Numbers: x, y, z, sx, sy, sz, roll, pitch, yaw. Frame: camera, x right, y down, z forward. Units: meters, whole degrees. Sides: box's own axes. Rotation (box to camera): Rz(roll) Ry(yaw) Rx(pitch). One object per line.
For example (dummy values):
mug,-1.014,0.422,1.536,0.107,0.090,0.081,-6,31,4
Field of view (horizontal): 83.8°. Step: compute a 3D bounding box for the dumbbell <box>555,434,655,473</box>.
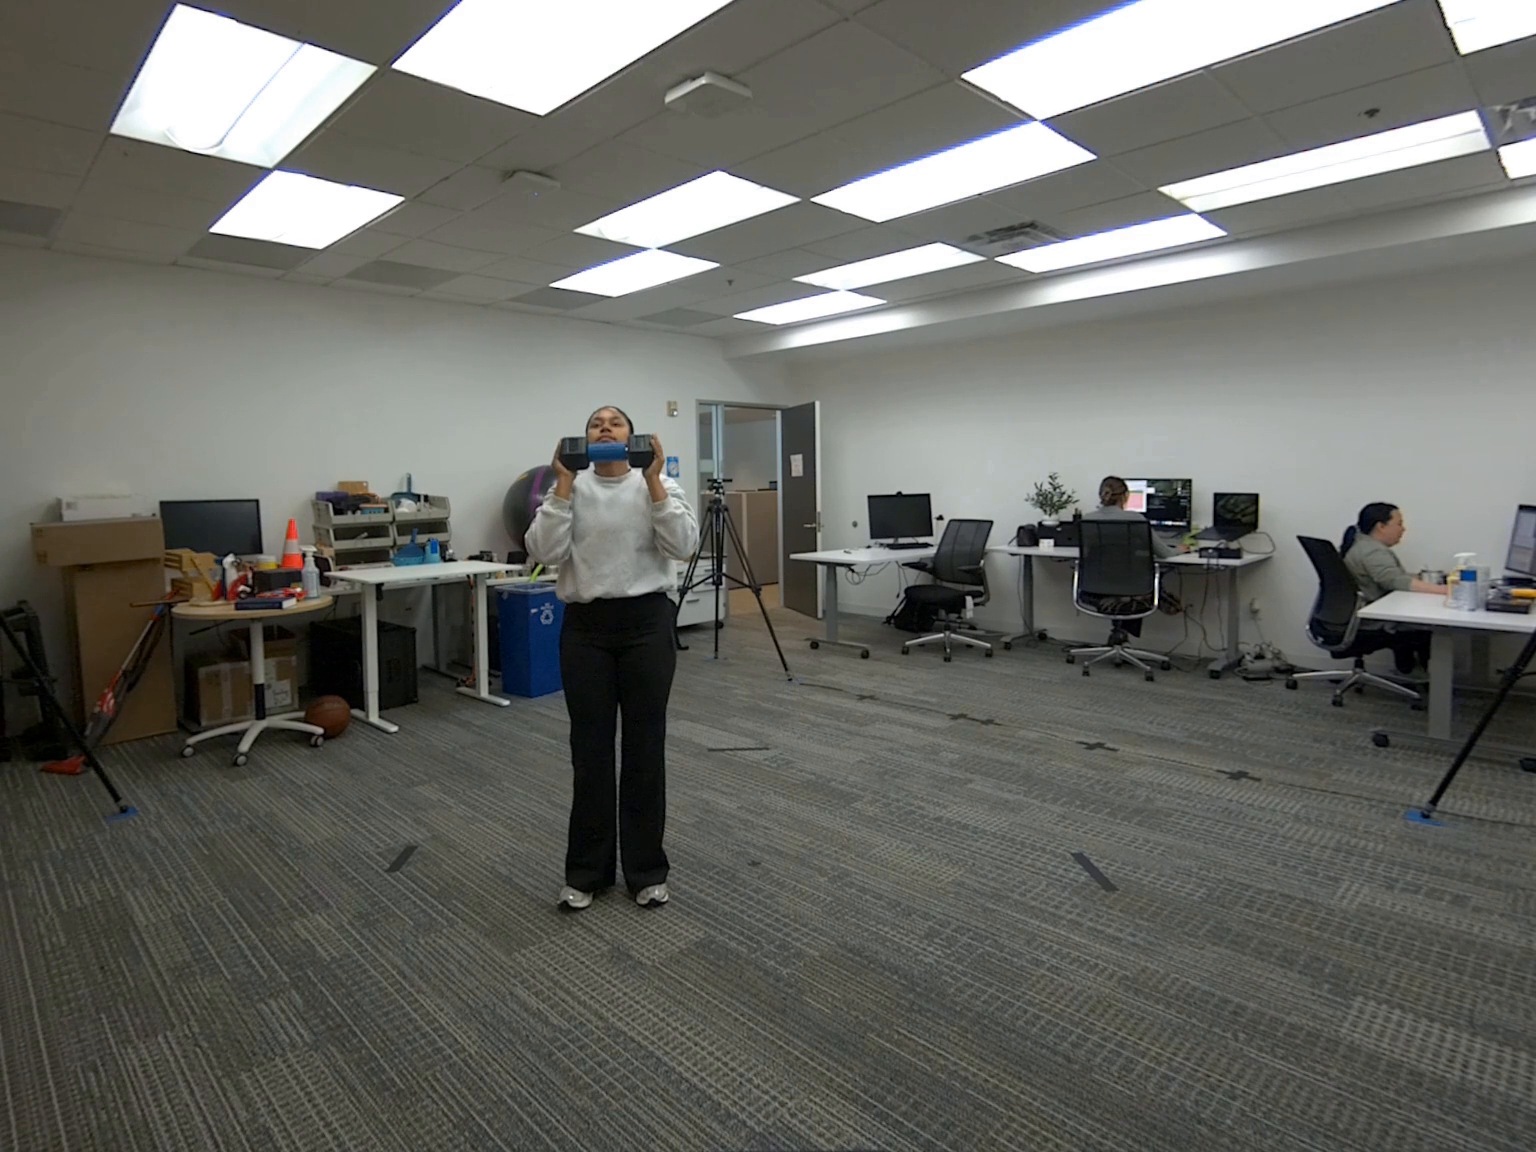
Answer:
dumbbell,-0.514,-0.398,2.756,0.293,0.119,0.112,-2,39,0
